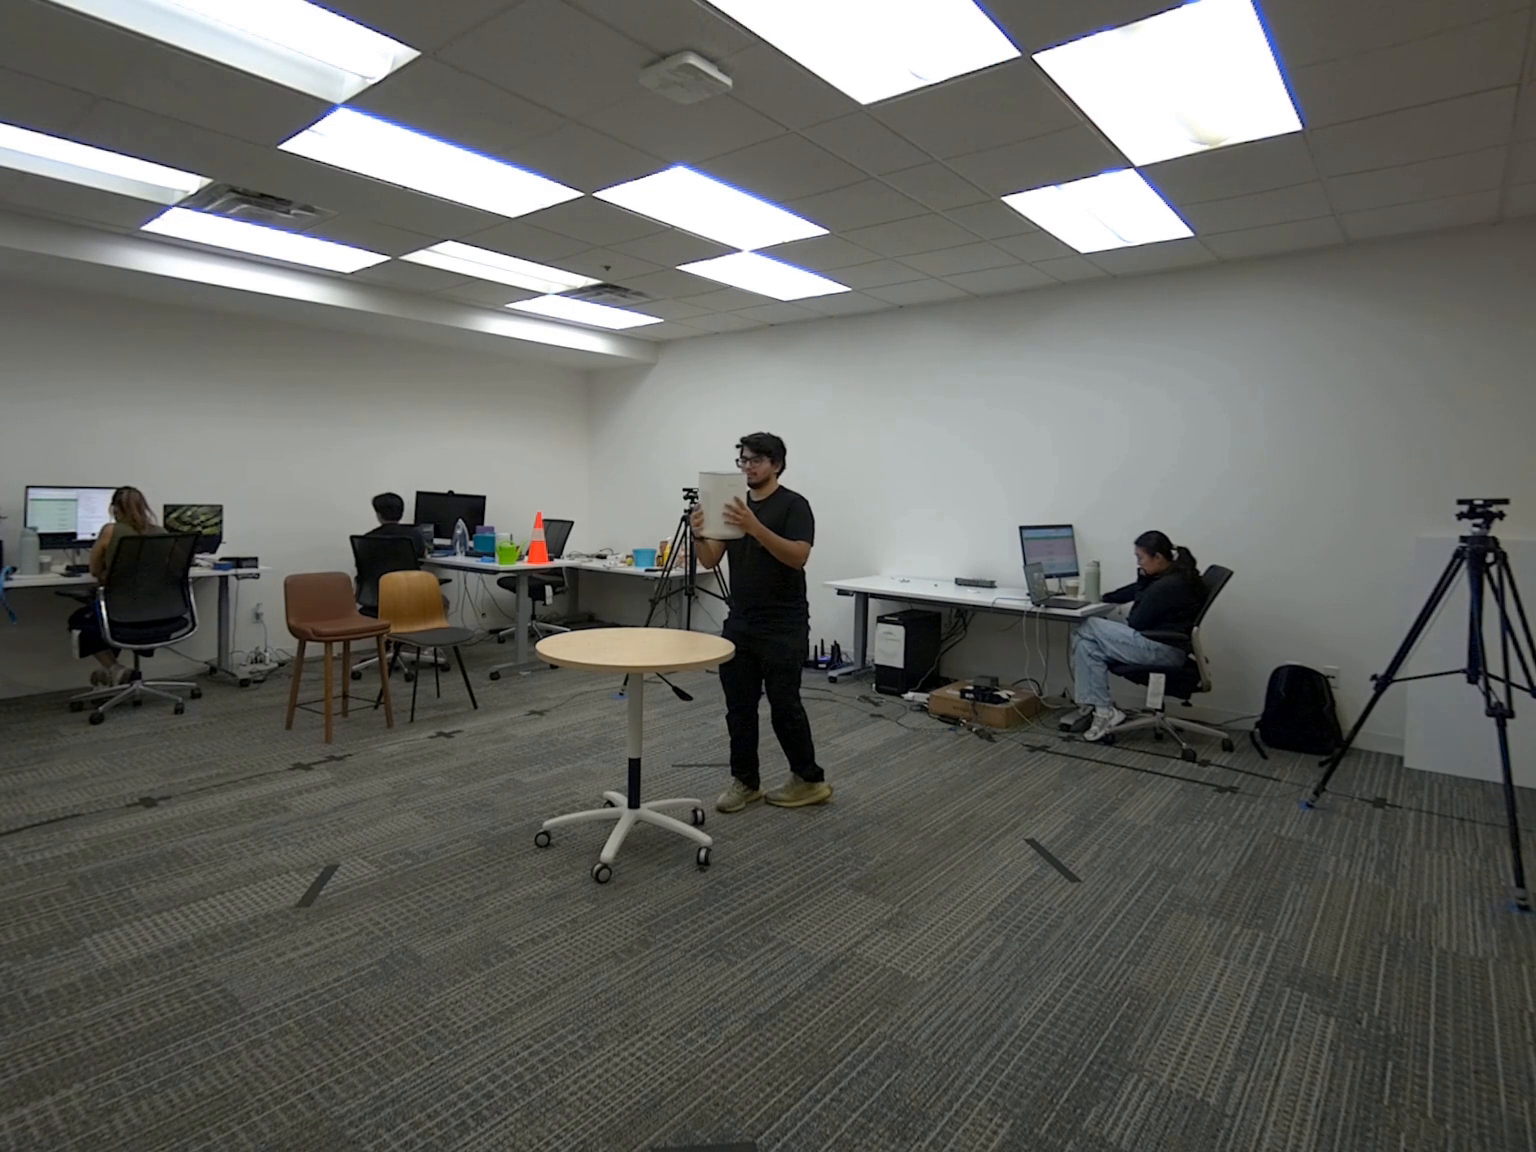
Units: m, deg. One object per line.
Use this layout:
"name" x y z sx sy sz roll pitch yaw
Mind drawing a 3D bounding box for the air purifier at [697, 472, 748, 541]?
"air purifier" -0.195 -0.296 3.458 0.167 0.263 0.177 0 9 -24
